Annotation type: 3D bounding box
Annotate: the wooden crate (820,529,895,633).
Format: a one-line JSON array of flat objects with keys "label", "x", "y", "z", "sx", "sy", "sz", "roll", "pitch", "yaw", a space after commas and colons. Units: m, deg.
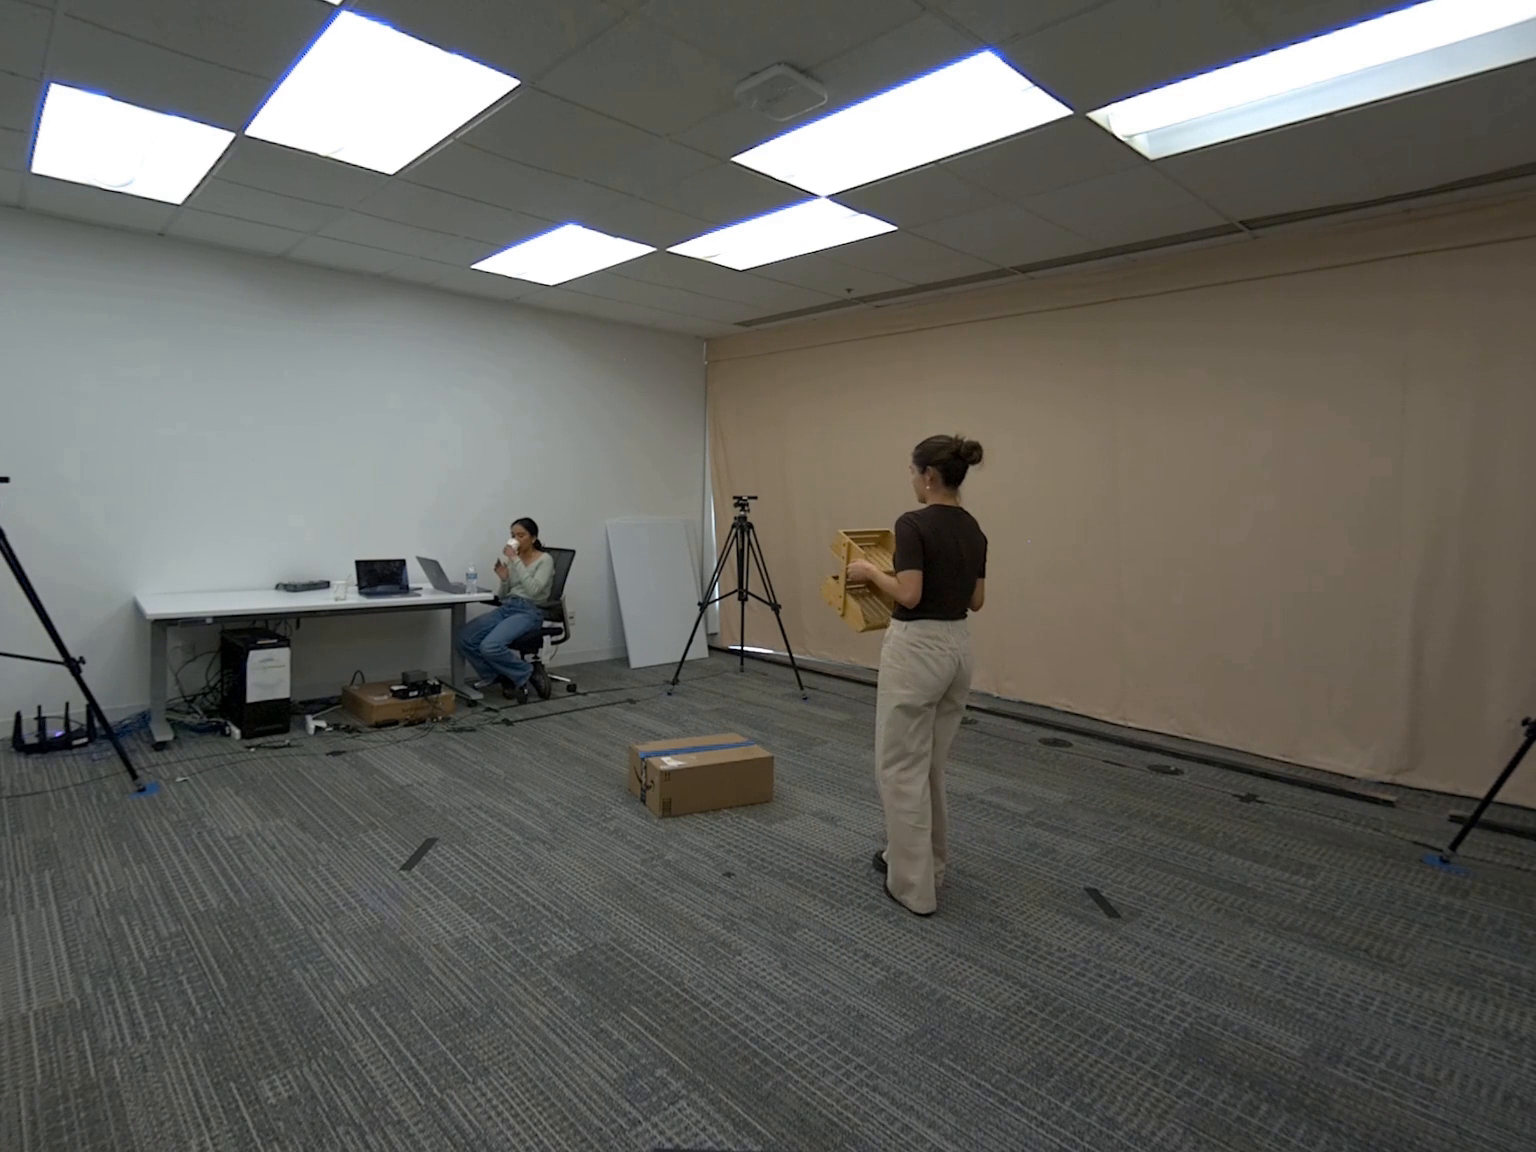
[{"label": "wooden crate", "x": 0.400, "y": 0.013, "z": 3.150, "sx": 0.317, "sy": 0.271, "sz": 0.311, "roll": -4, "pitch": 38, "yaw": -42}]
